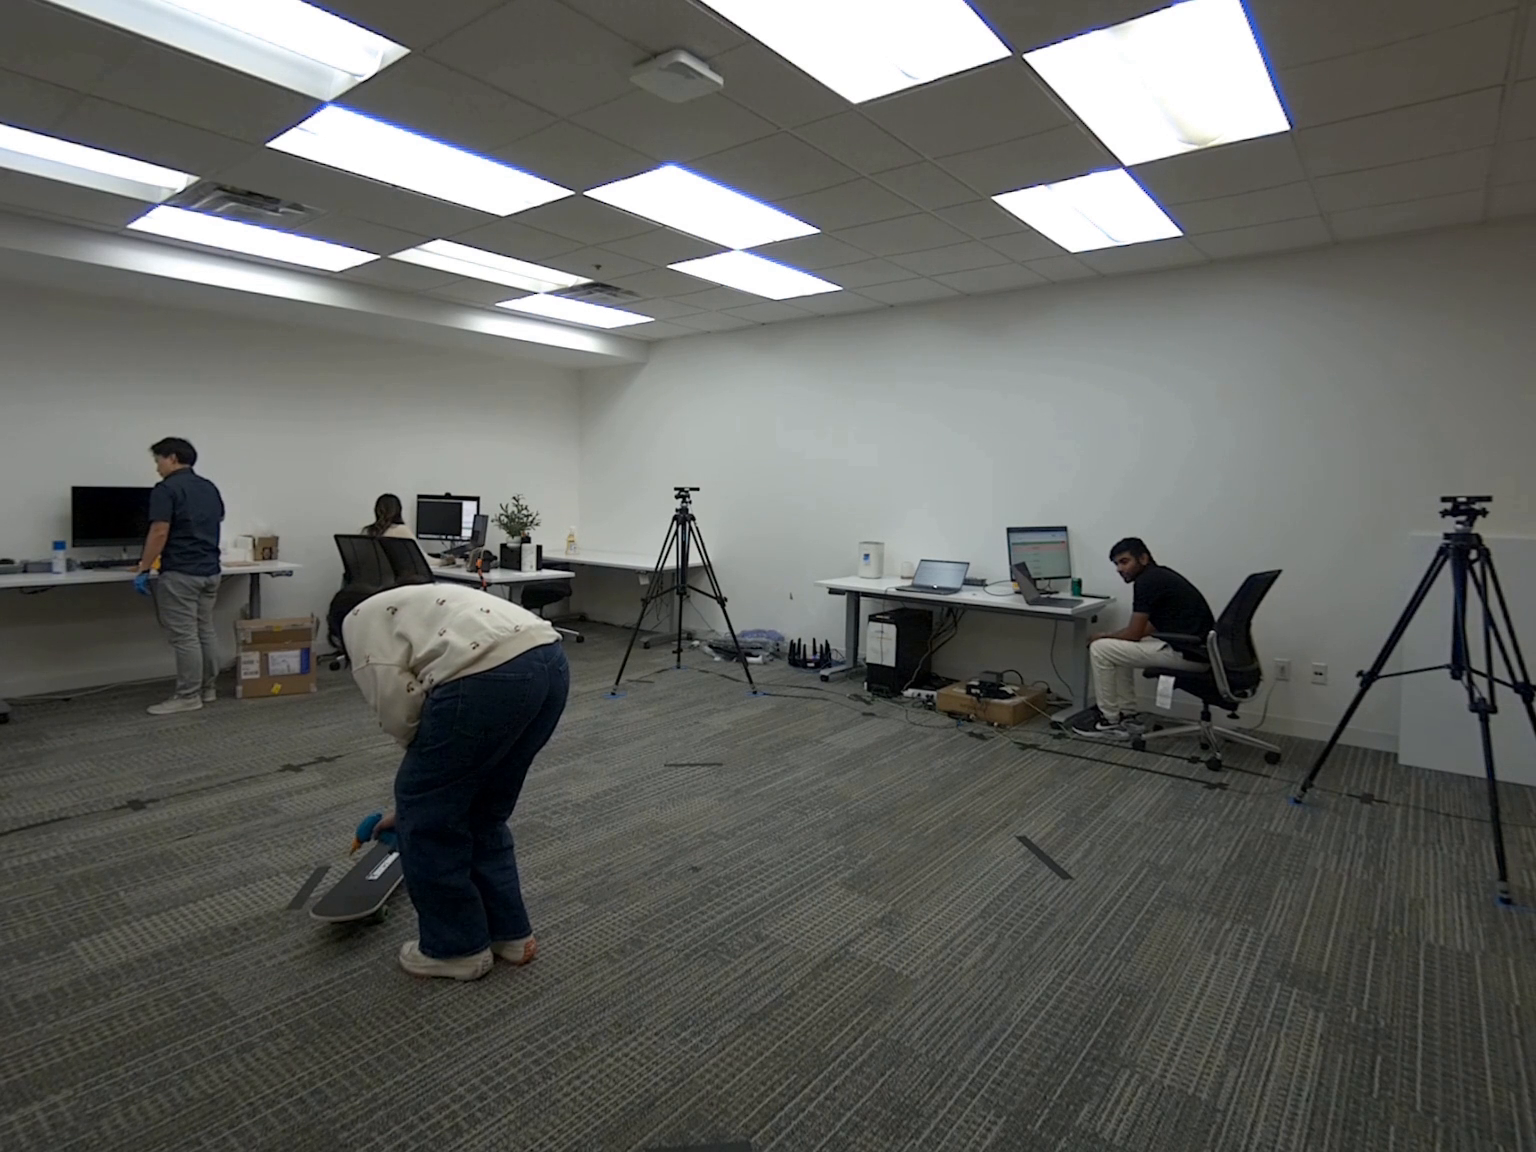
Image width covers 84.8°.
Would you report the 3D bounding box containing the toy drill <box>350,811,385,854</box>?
[{"bbox_3d":[-1.281,0.853,2.739,0.147,0.170,0.060,34,0,5],"label":"toy drill"}]
